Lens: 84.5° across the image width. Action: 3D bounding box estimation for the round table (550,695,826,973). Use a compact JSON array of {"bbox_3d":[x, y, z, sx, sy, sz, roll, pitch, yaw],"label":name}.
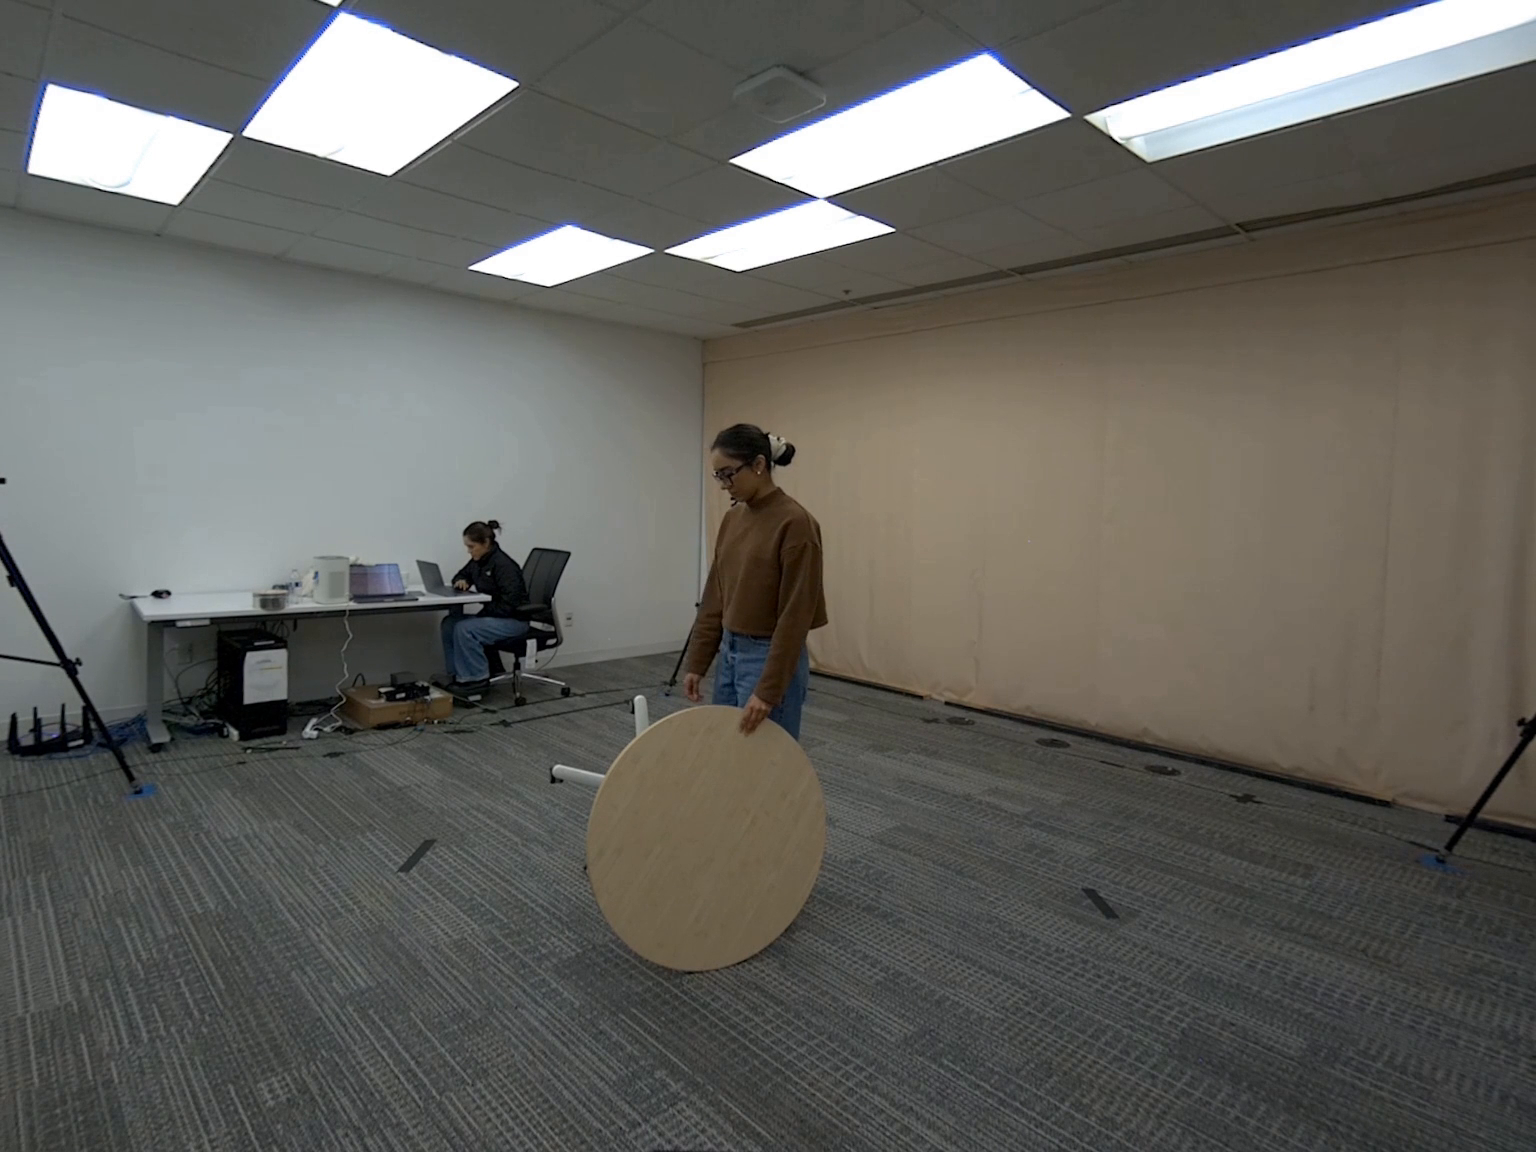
[{"bbox_3d":[-0.341,0.792,2.871,0.750,0.766,0.806,-1,-3,-25],"label":"round table"}]
